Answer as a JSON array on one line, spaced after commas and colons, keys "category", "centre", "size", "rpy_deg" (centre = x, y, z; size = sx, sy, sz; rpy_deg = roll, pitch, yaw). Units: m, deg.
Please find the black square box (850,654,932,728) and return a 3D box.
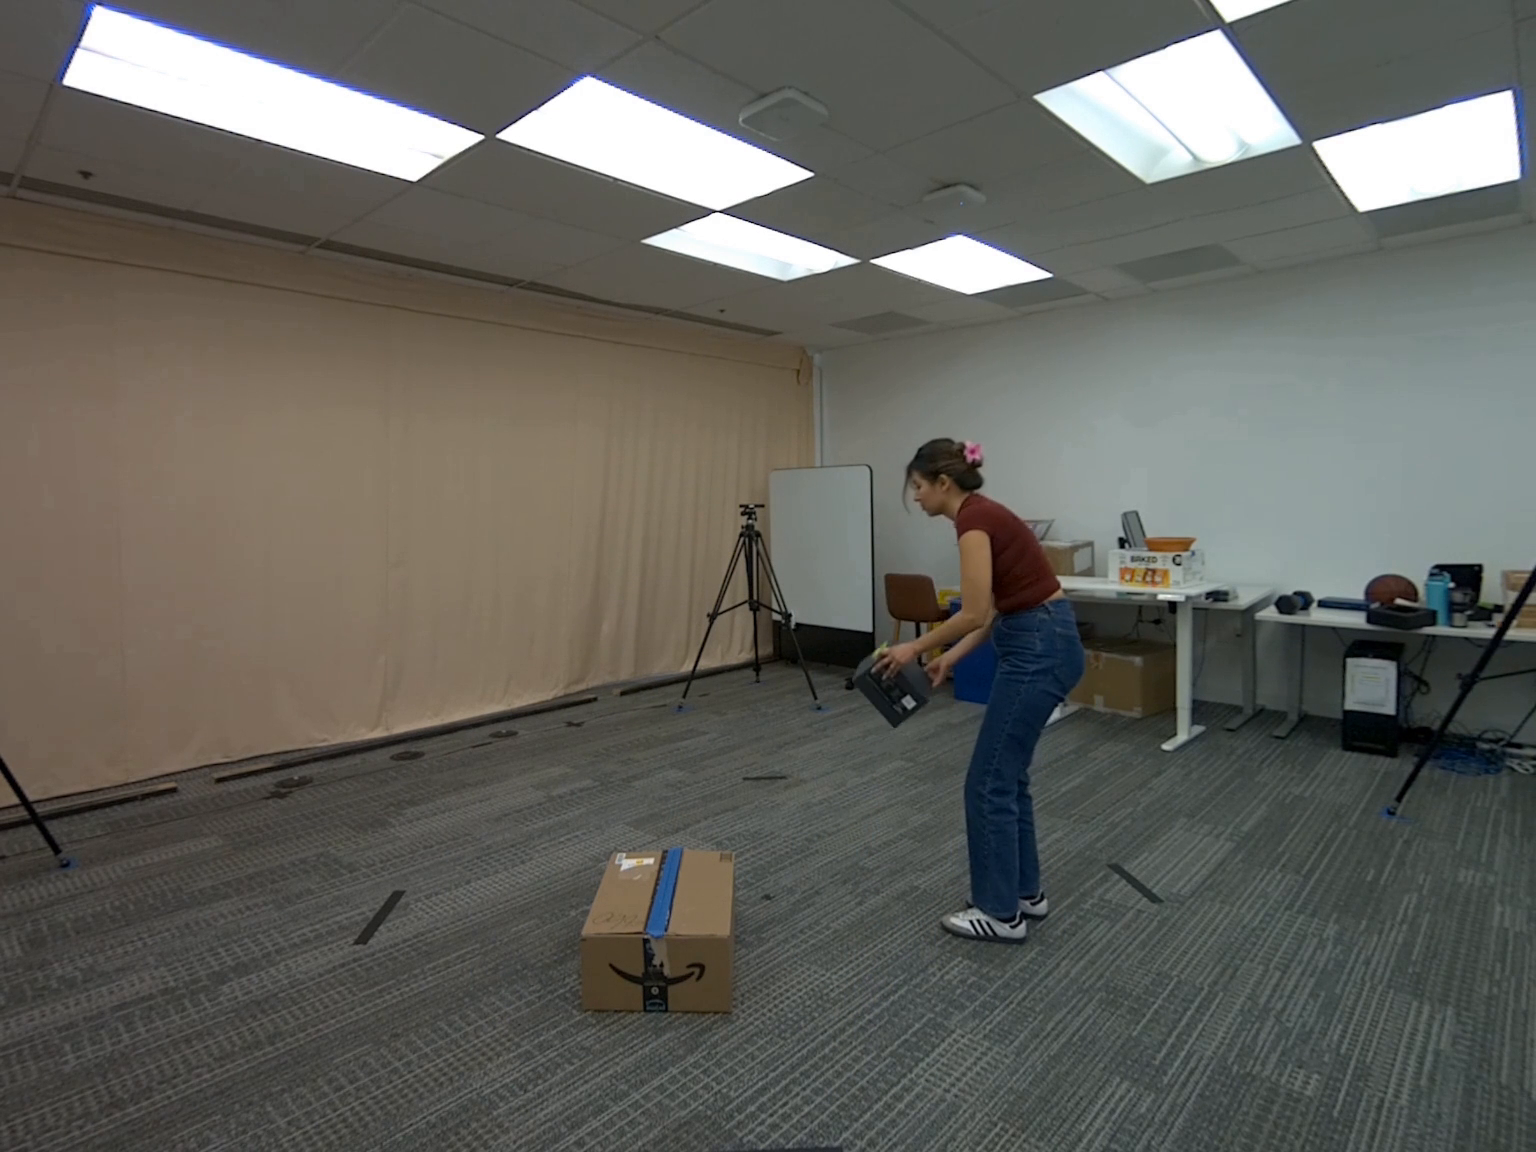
[{"category": "black square box", "centre": [0.447, 0.373, 2.953], "size": [0.157, 0.218, 0.225], "rpy_deg": [-44, -3, 19]}]
